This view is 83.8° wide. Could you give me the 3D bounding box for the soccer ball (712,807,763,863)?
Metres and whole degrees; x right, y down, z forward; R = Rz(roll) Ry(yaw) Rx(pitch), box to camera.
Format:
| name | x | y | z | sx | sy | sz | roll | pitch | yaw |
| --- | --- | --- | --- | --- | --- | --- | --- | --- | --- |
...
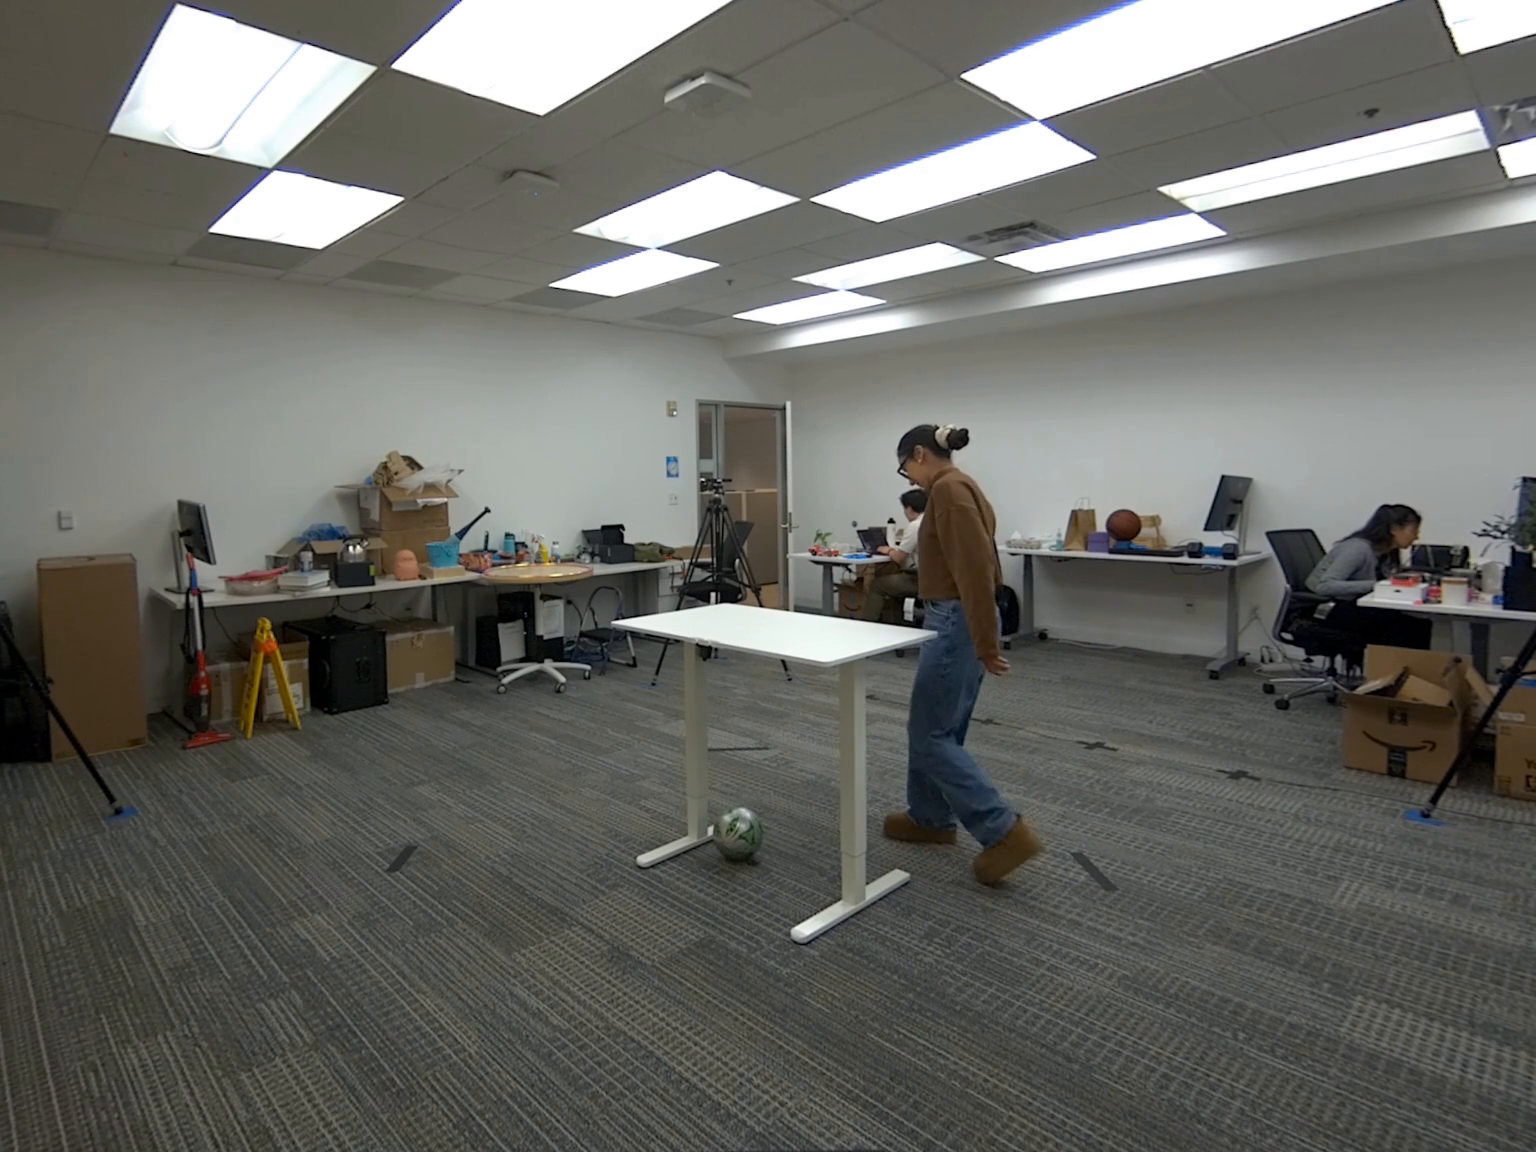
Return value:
| name | x | y | z | sx | sy | sz | roll | pitch | yaw |
| --- | --- | --- | --- | --- | --- | --- | --- | --- | --- |
| soccer ball | -0.102 | 0.947 | 3.146 | 0.187 | 0.187 | 0.188 | -1 | 5 | -2 |
